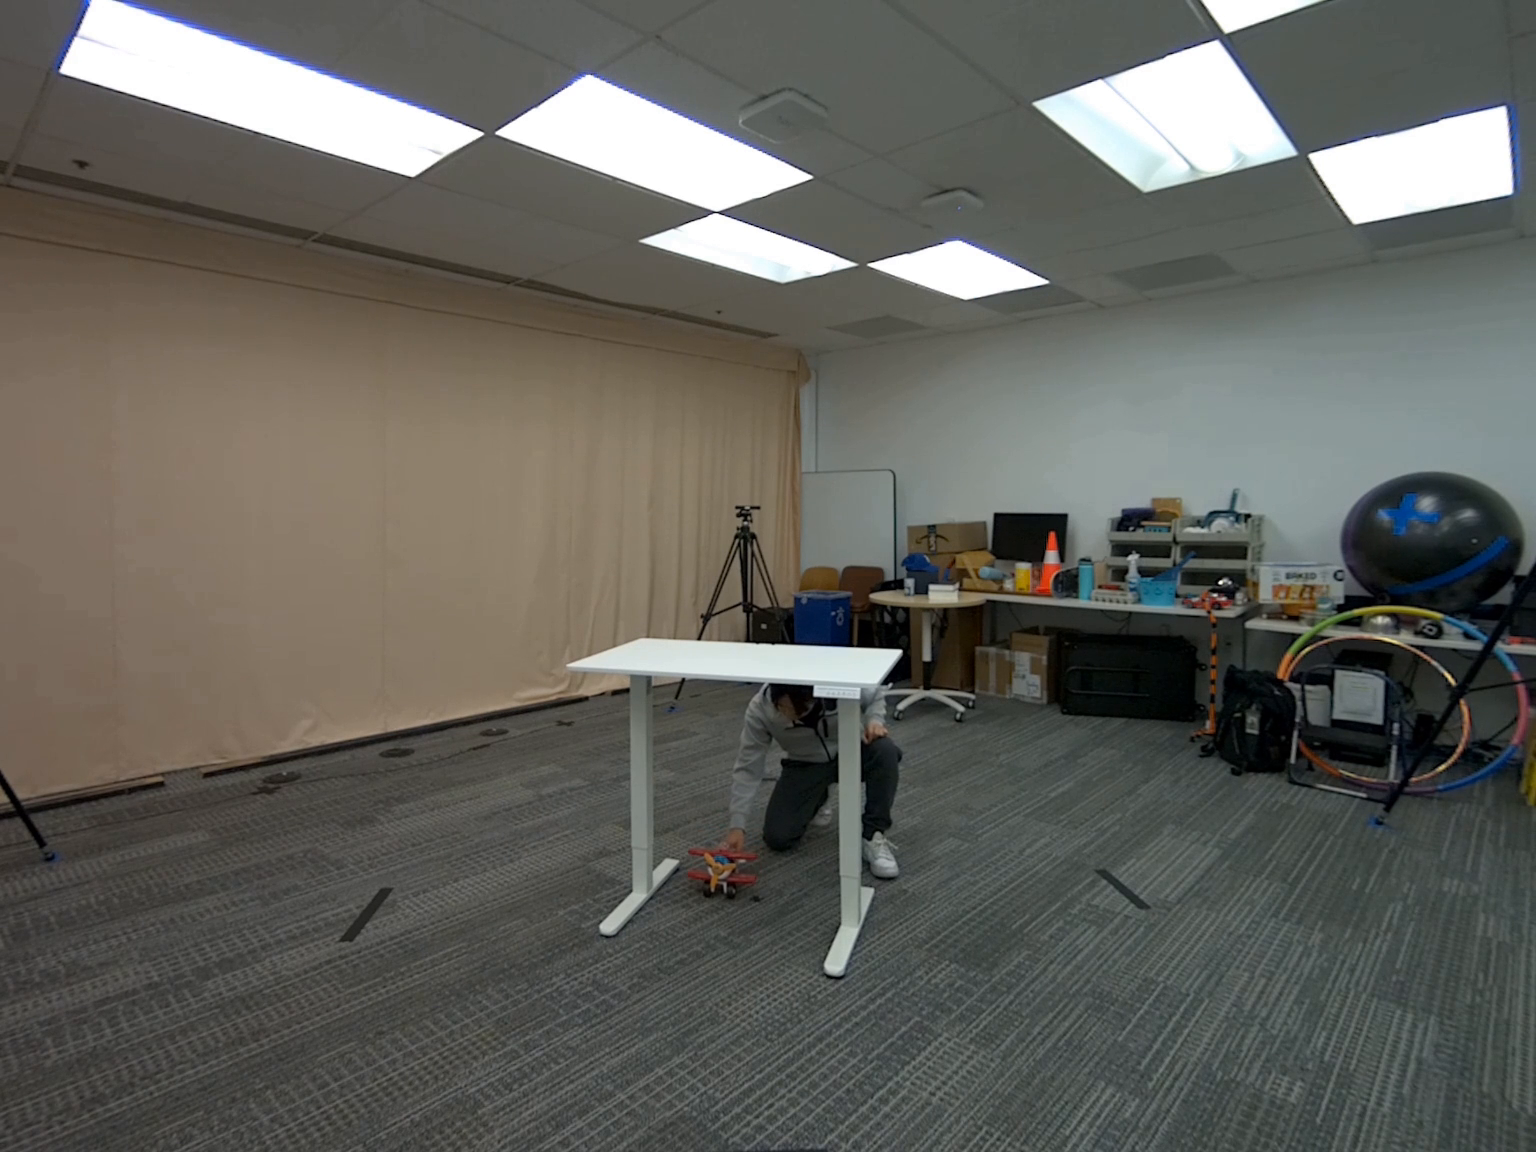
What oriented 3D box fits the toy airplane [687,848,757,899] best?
[{"bbox_3d":[-0.177,1.068,3.074,0.246,0.156,0.265,-1,5,-19],"label":"toy airplane"}]
